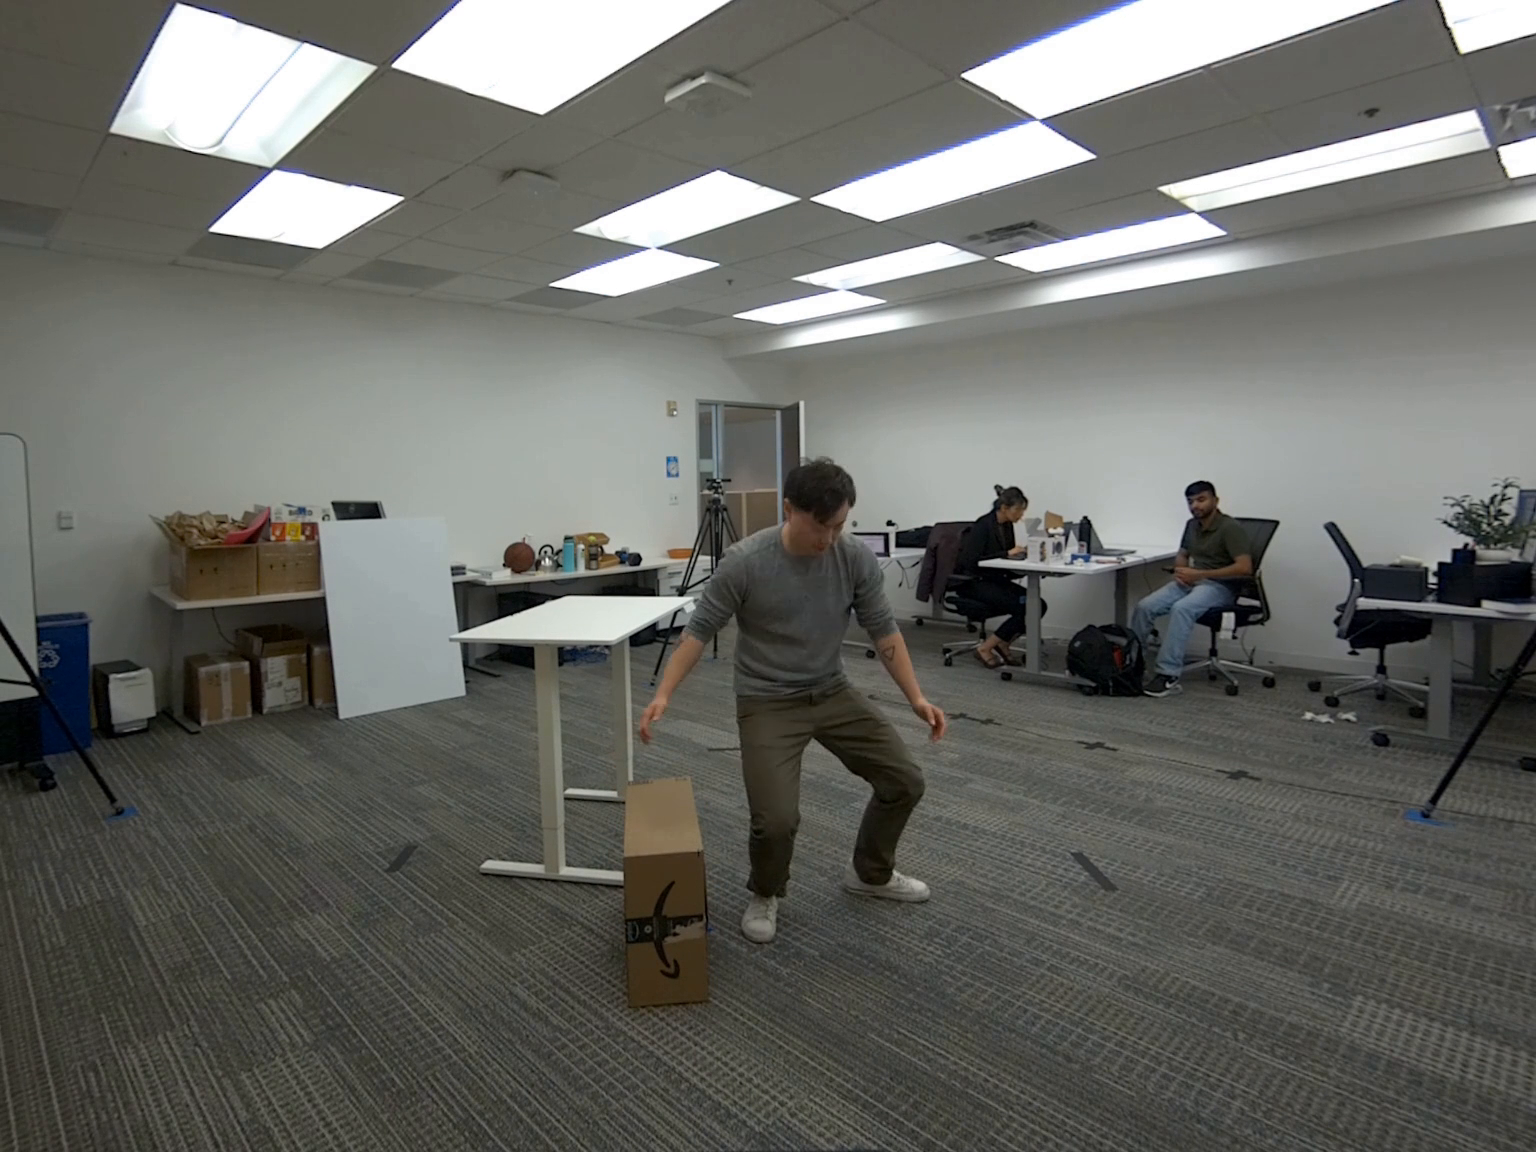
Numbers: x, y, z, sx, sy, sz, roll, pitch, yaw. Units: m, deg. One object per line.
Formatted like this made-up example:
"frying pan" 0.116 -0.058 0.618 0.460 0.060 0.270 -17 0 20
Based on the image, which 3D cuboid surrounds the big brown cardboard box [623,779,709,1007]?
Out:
"big brown cardboard box" -0.307 0.906 2.550 0.232 0.415 0.595 -3 6 -7
